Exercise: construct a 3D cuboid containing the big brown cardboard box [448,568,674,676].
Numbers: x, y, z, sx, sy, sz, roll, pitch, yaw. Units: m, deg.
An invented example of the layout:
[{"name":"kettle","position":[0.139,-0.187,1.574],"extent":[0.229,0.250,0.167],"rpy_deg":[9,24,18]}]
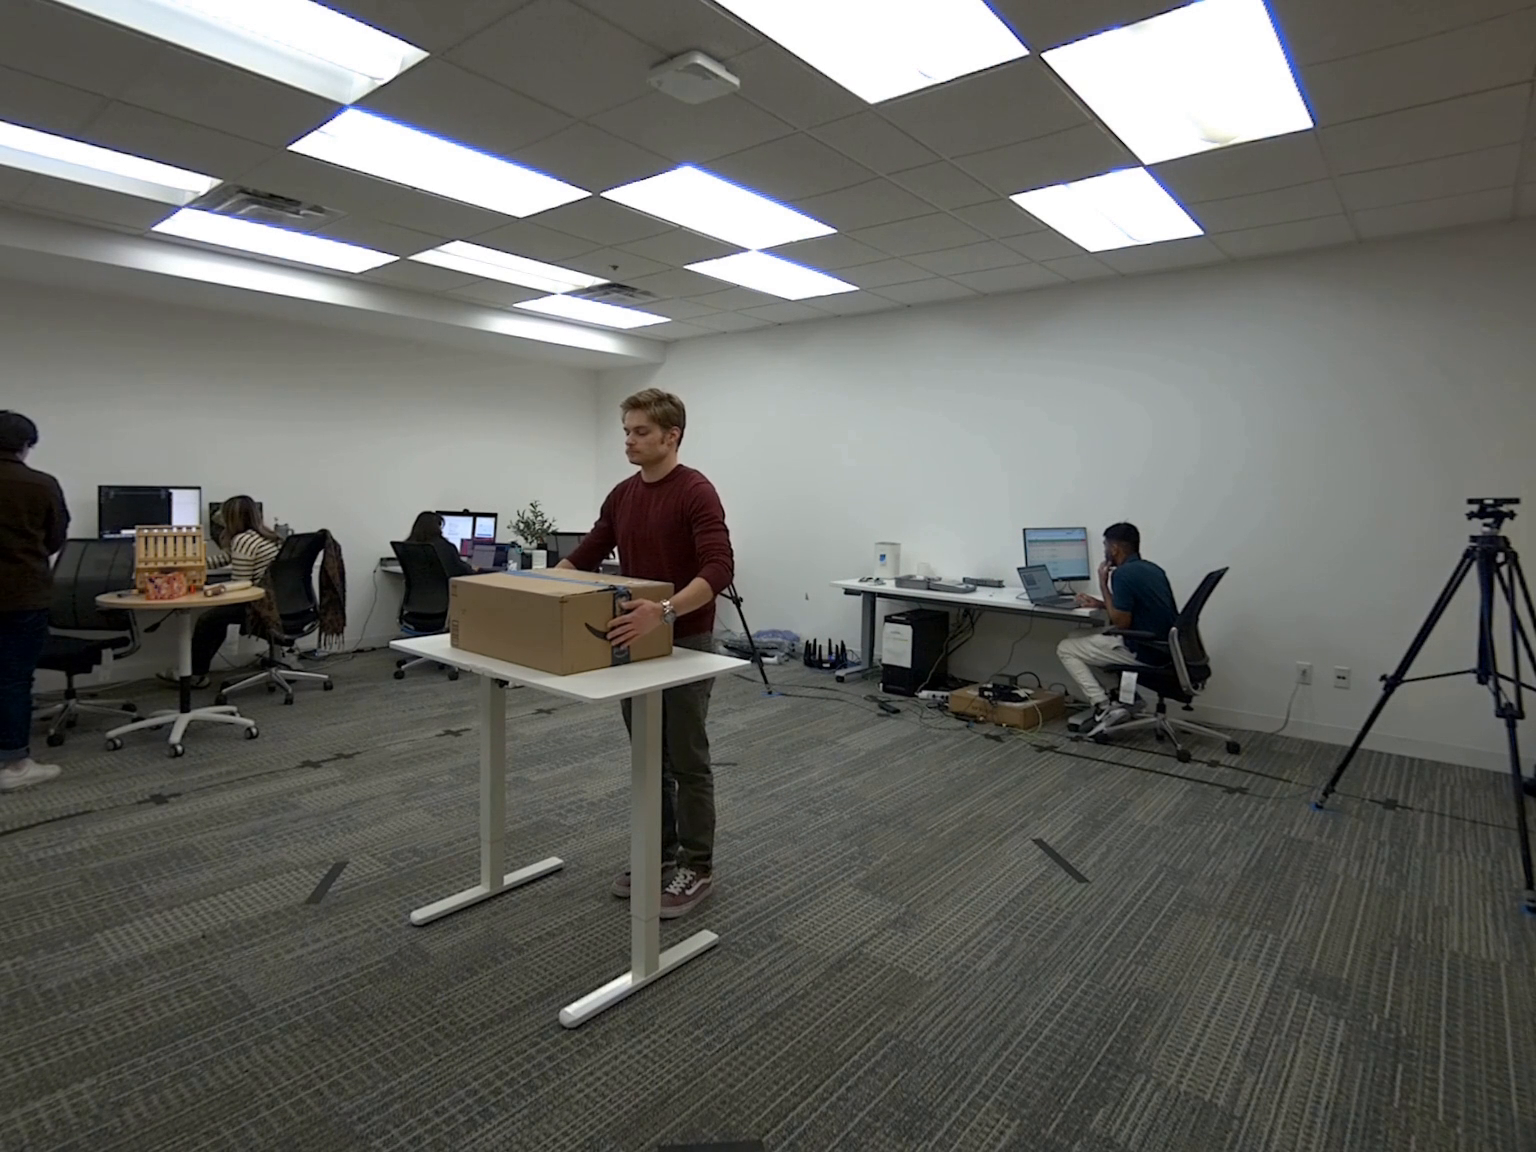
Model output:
[{"name":"big brown cardboard box","position":[-0.643,0.115,2.582],"extent":[0.609,0.232,0.406],"rpy_deg":[5,8,40]}]
